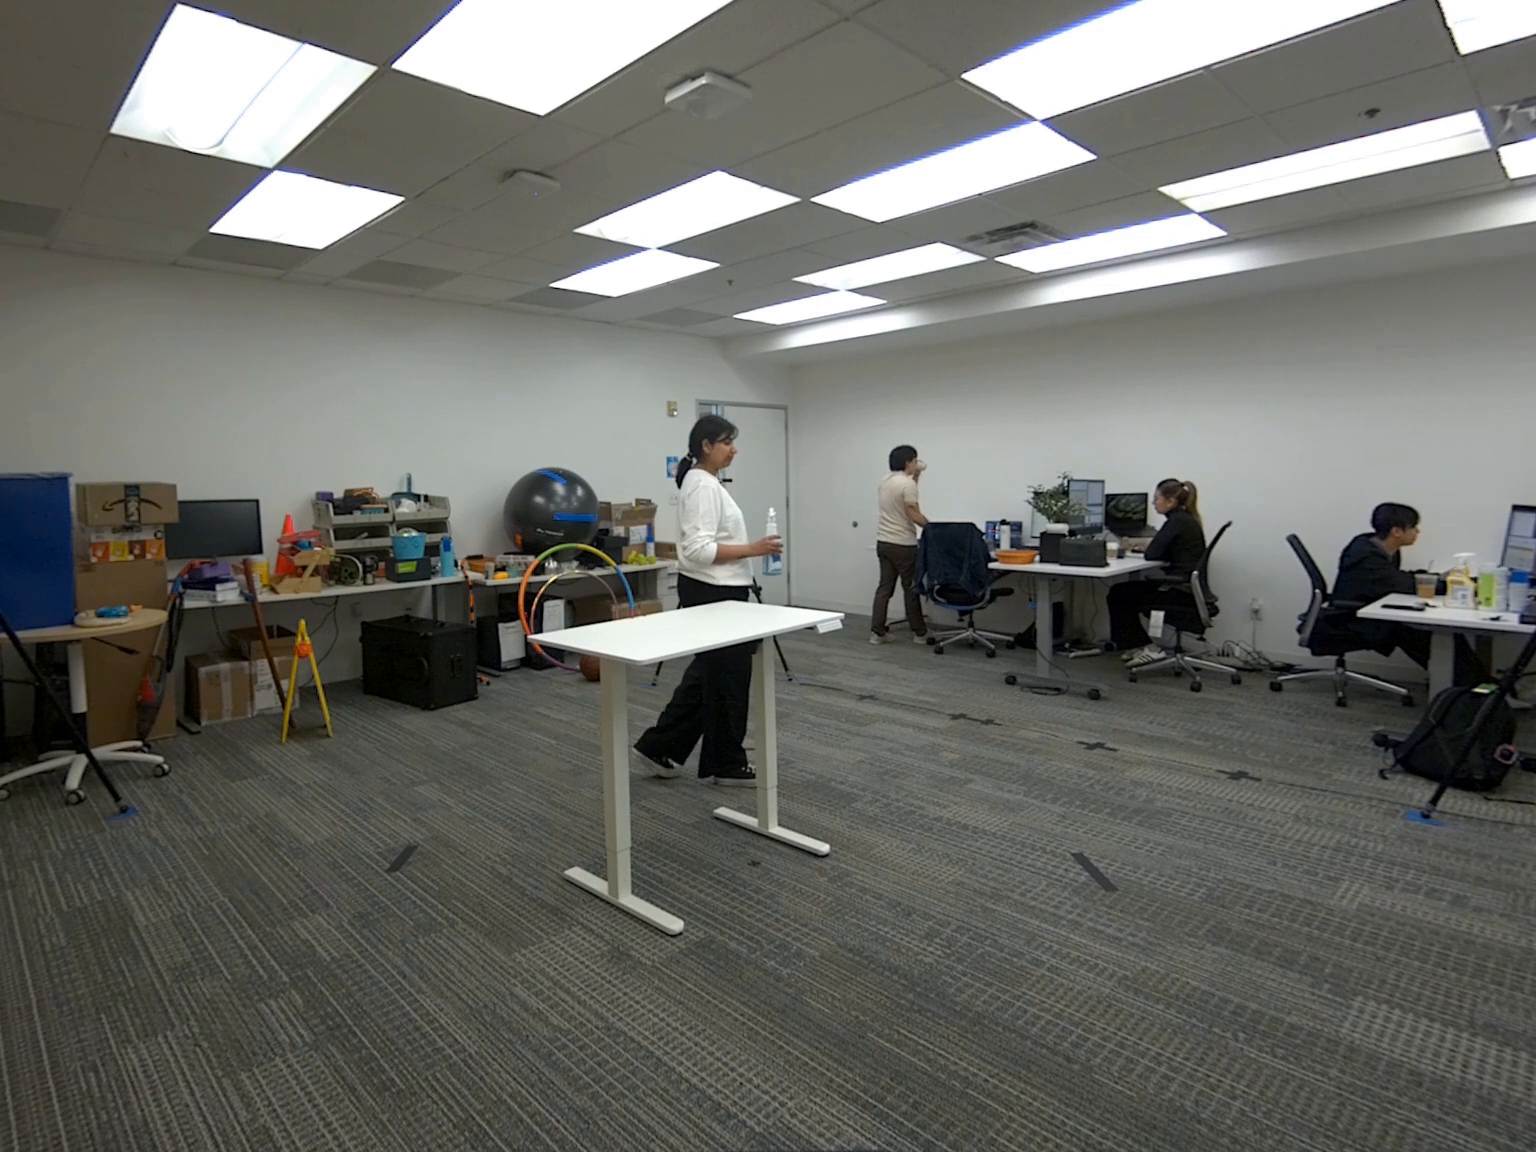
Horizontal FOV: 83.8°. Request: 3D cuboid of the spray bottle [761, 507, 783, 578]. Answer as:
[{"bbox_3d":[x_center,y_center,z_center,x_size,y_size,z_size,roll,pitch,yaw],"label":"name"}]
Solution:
[{"bbox_3d":[0.005,-0.148,3.800,0.089,0.296,0.088,-1,4,29],"label":"spray bottle"}]
